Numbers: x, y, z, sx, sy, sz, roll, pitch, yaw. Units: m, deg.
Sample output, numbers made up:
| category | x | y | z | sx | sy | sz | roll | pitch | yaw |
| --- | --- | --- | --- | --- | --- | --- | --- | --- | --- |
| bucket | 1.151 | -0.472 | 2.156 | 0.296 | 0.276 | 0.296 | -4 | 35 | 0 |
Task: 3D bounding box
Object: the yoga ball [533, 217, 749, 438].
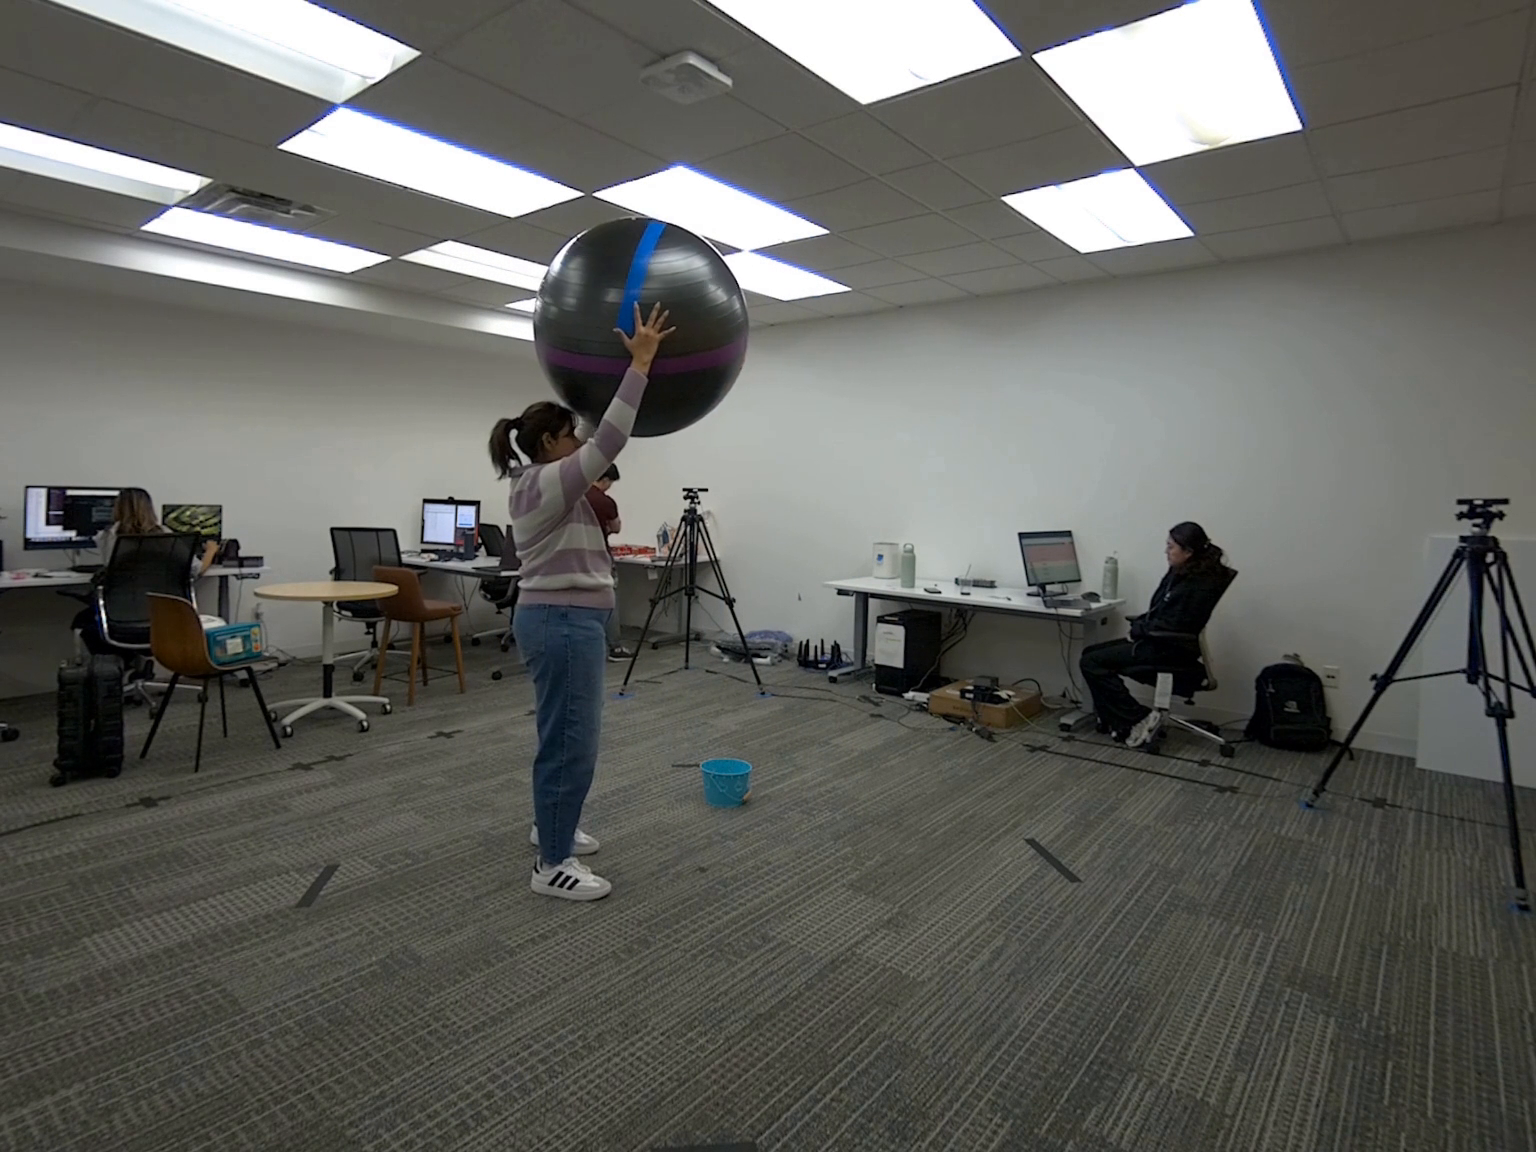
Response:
| category | x | y | z | sx | sy | sz | roll | pitch | yaw |
| --- | --- | --- | --- | --- | --- | --- | --- | --- | --- |
| yoga ball | -0.460 | -0.875 | 3.029 | 0.757 | 0.756 | 0.761 | 1 | 4 | -2 |
